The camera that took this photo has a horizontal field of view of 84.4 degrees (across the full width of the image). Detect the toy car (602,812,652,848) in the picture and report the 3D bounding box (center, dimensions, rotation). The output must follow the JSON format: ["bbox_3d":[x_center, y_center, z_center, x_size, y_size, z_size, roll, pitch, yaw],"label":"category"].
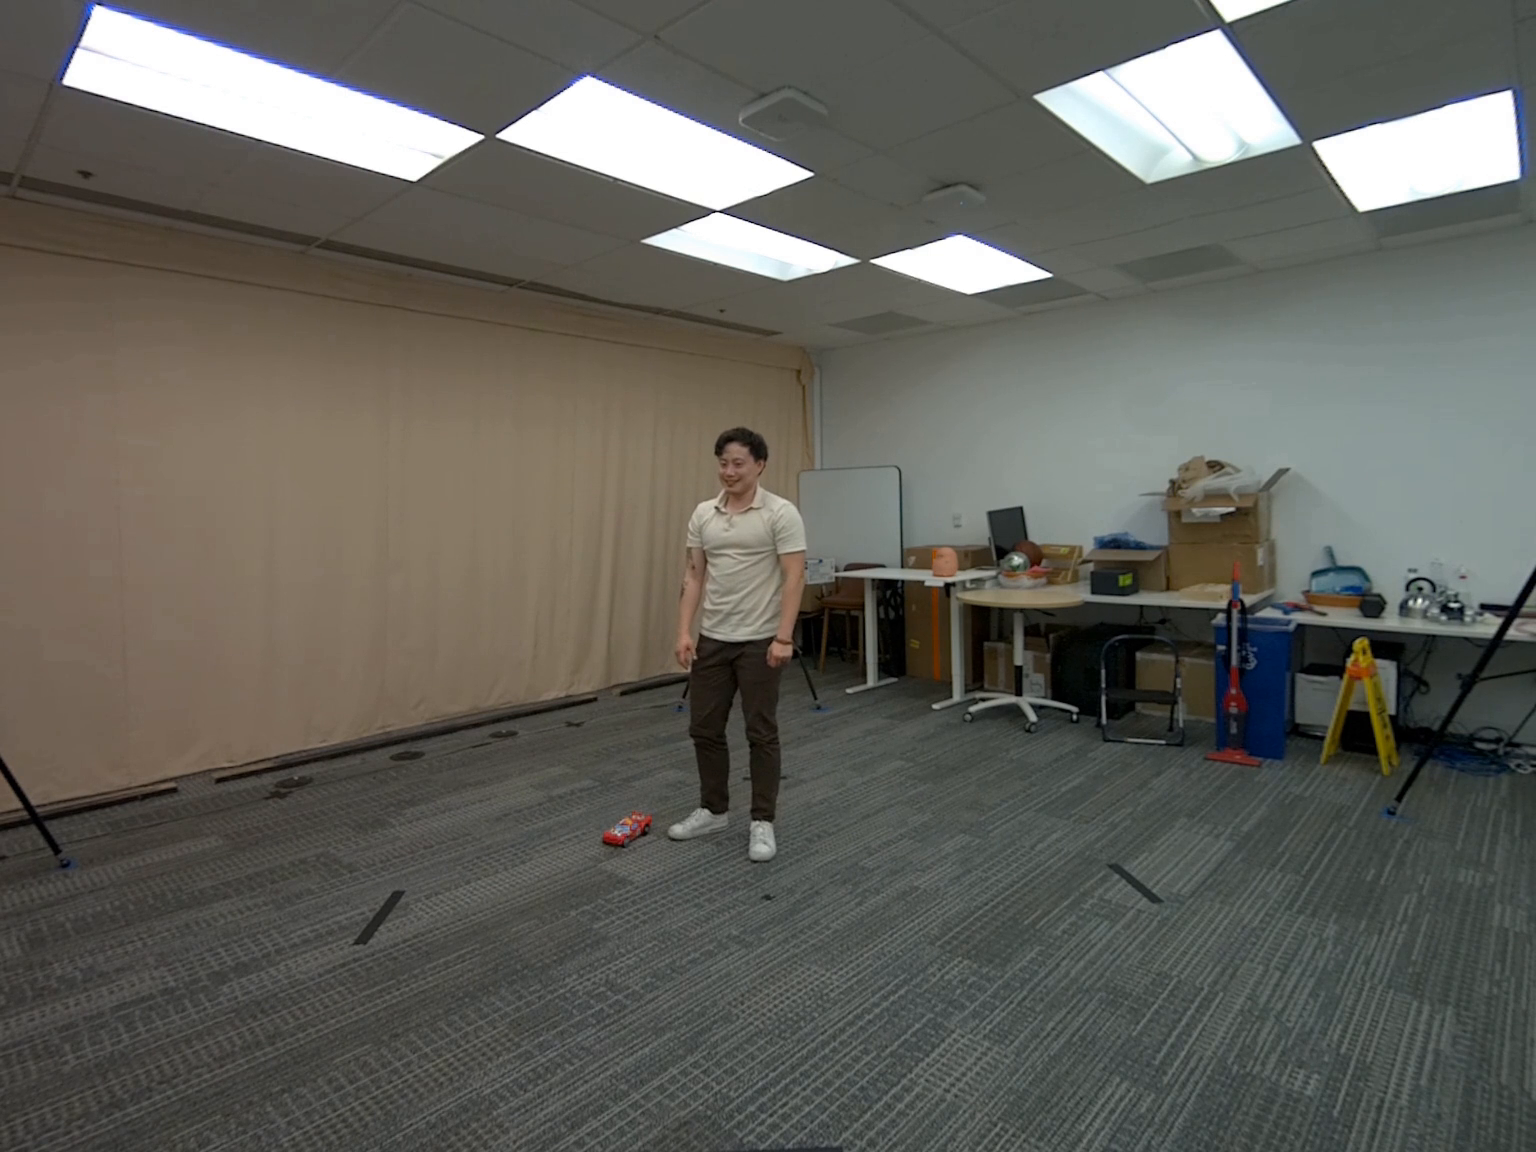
[{"bbox_3d":[-0.591,1.076,3.564,0.134,0.082,0.250,0,15,27],"label":"toy car"}]
